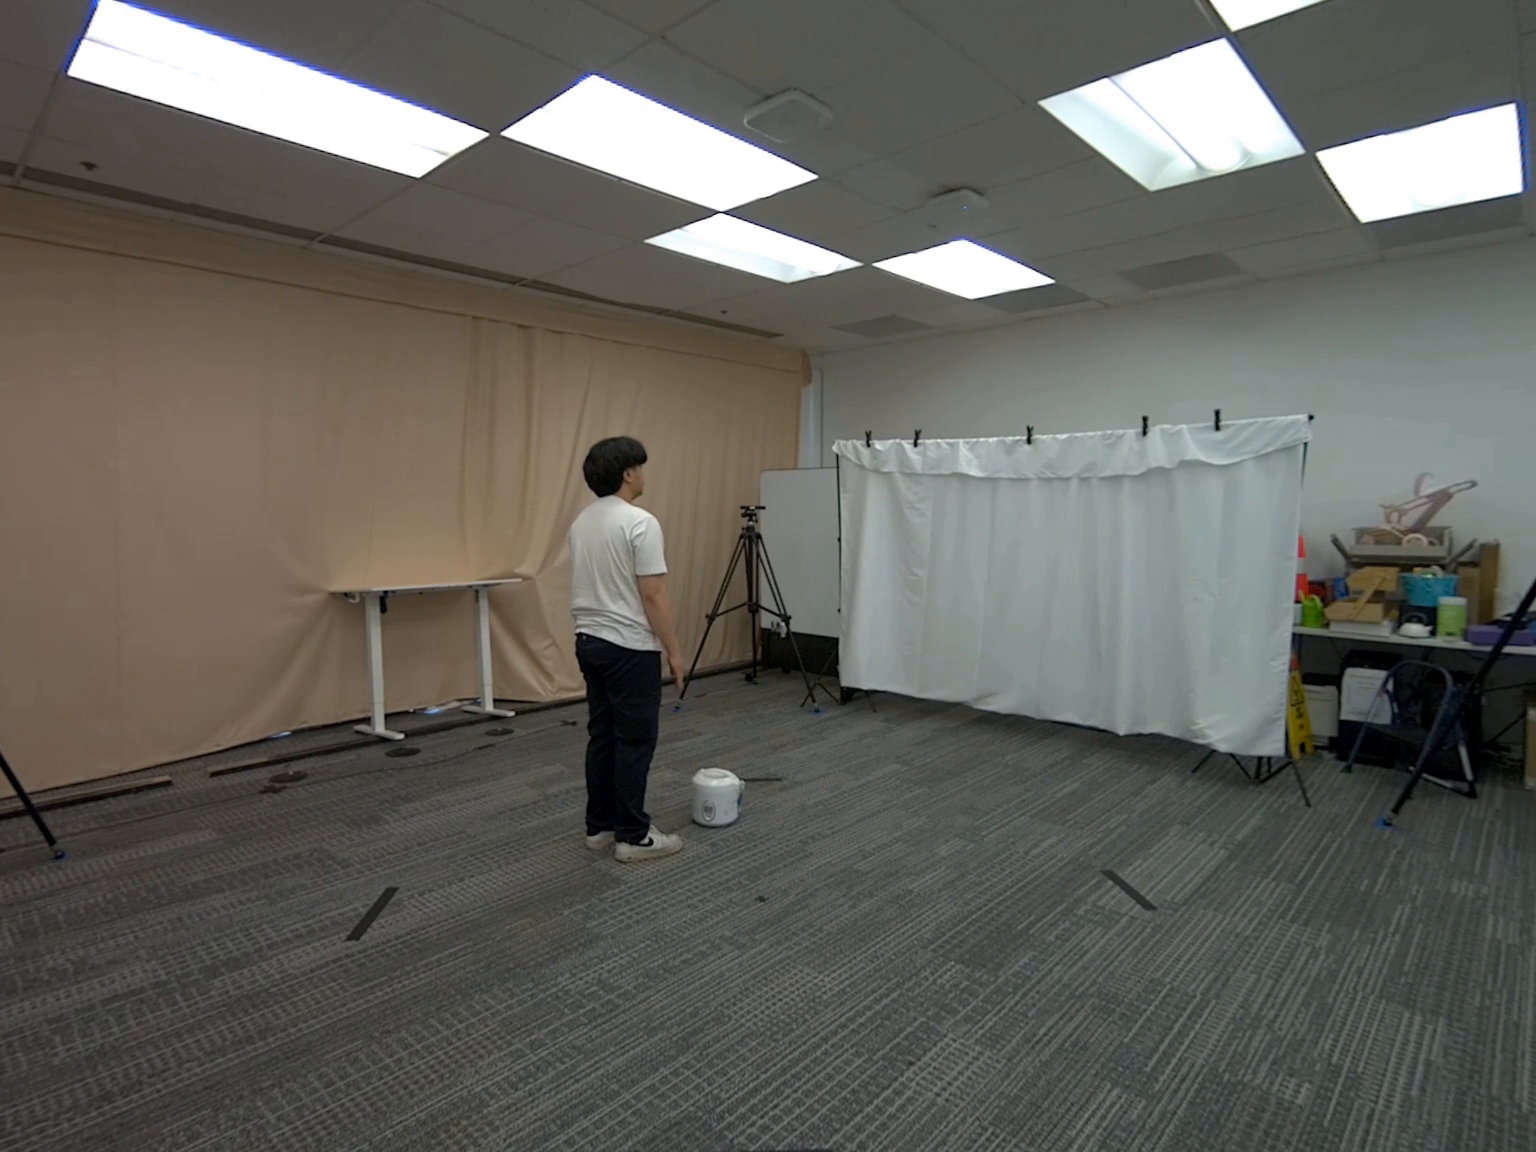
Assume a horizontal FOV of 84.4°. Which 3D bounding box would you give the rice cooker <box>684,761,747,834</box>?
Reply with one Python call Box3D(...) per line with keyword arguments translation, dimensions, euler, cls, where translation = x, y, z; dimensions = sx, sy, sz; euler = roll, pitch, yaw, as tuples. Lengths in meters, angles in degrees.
Box3D(translation=(-0.230, 0.966, 3.727), dimensions=(0.224, 0.232, 0.214), euler=(0, 2, 13), cls="rice cooker")
